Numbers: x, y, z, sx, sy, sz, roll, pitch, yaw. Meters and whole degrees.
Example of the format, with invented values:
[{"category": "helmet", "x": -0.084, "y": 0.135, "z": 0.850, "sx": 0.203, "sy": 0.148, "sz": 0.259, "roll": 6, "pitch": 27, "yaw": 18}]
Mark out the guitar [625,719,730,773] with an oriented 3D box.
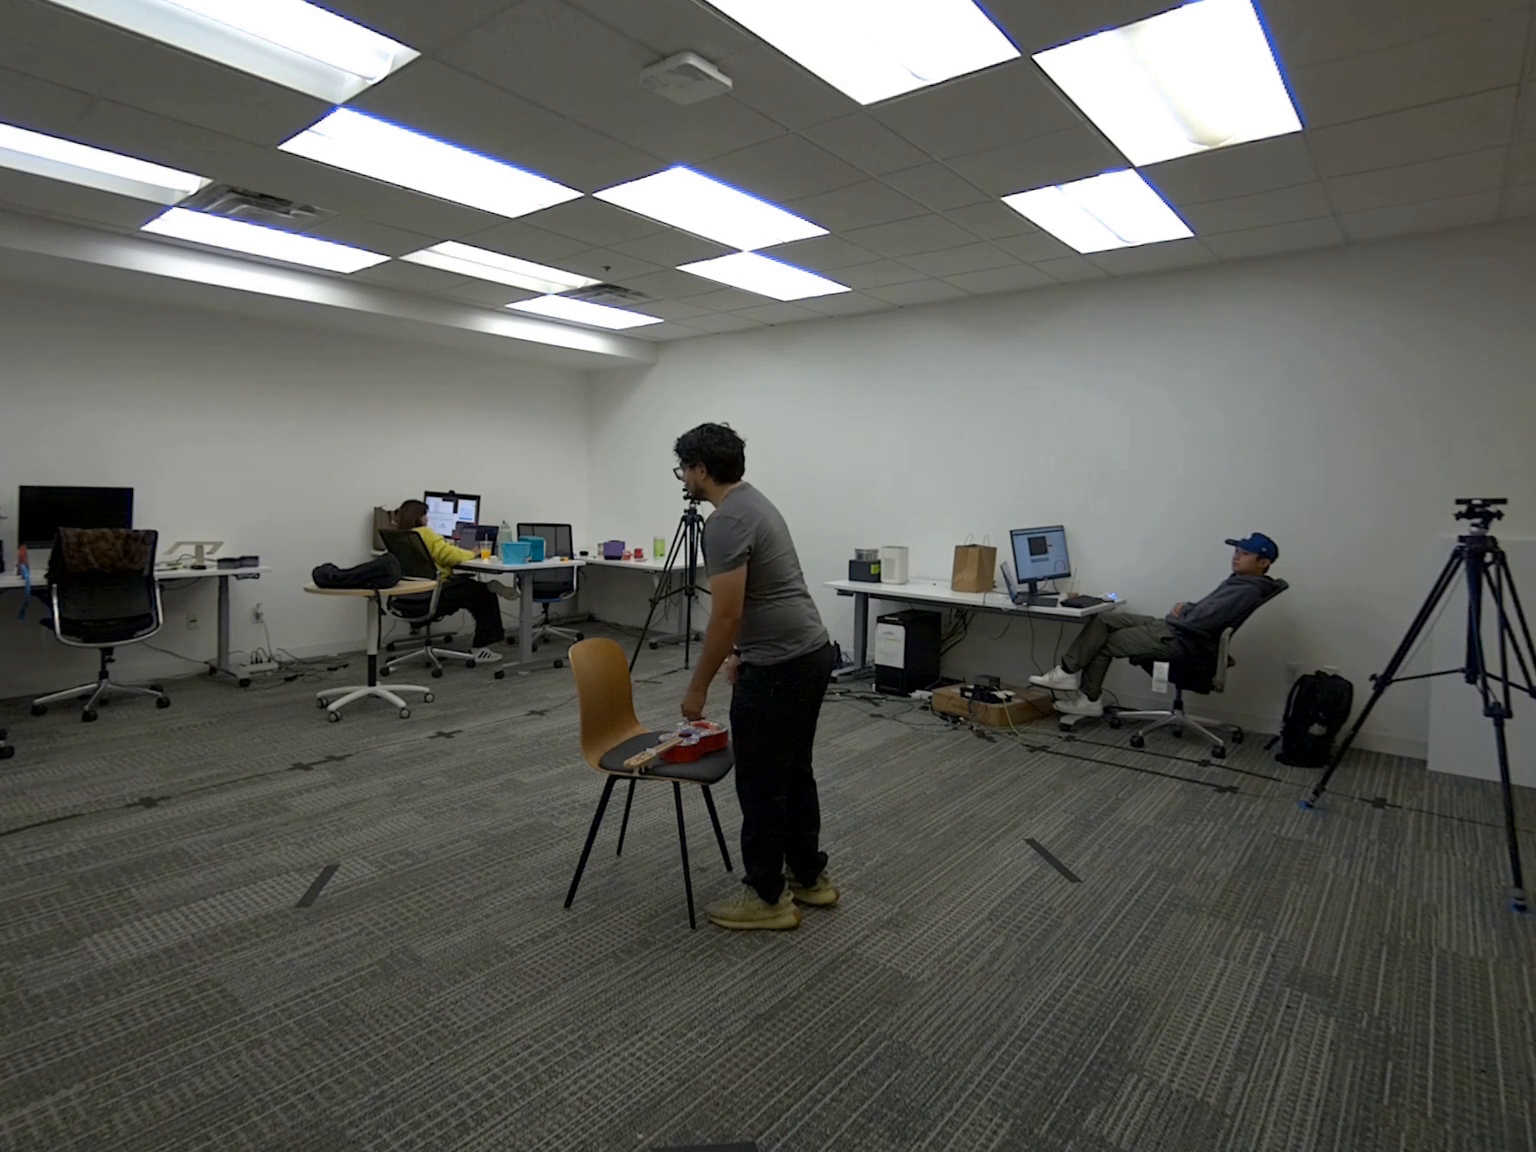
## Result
[{"category": "guitar", "x": -0.348, "y": 0.577, "z": 2.872, "sx": 0.199, "sy": 0.070, "sz": 0.484, "roll": 5, "pitch": 9, "yaw": 37}]
